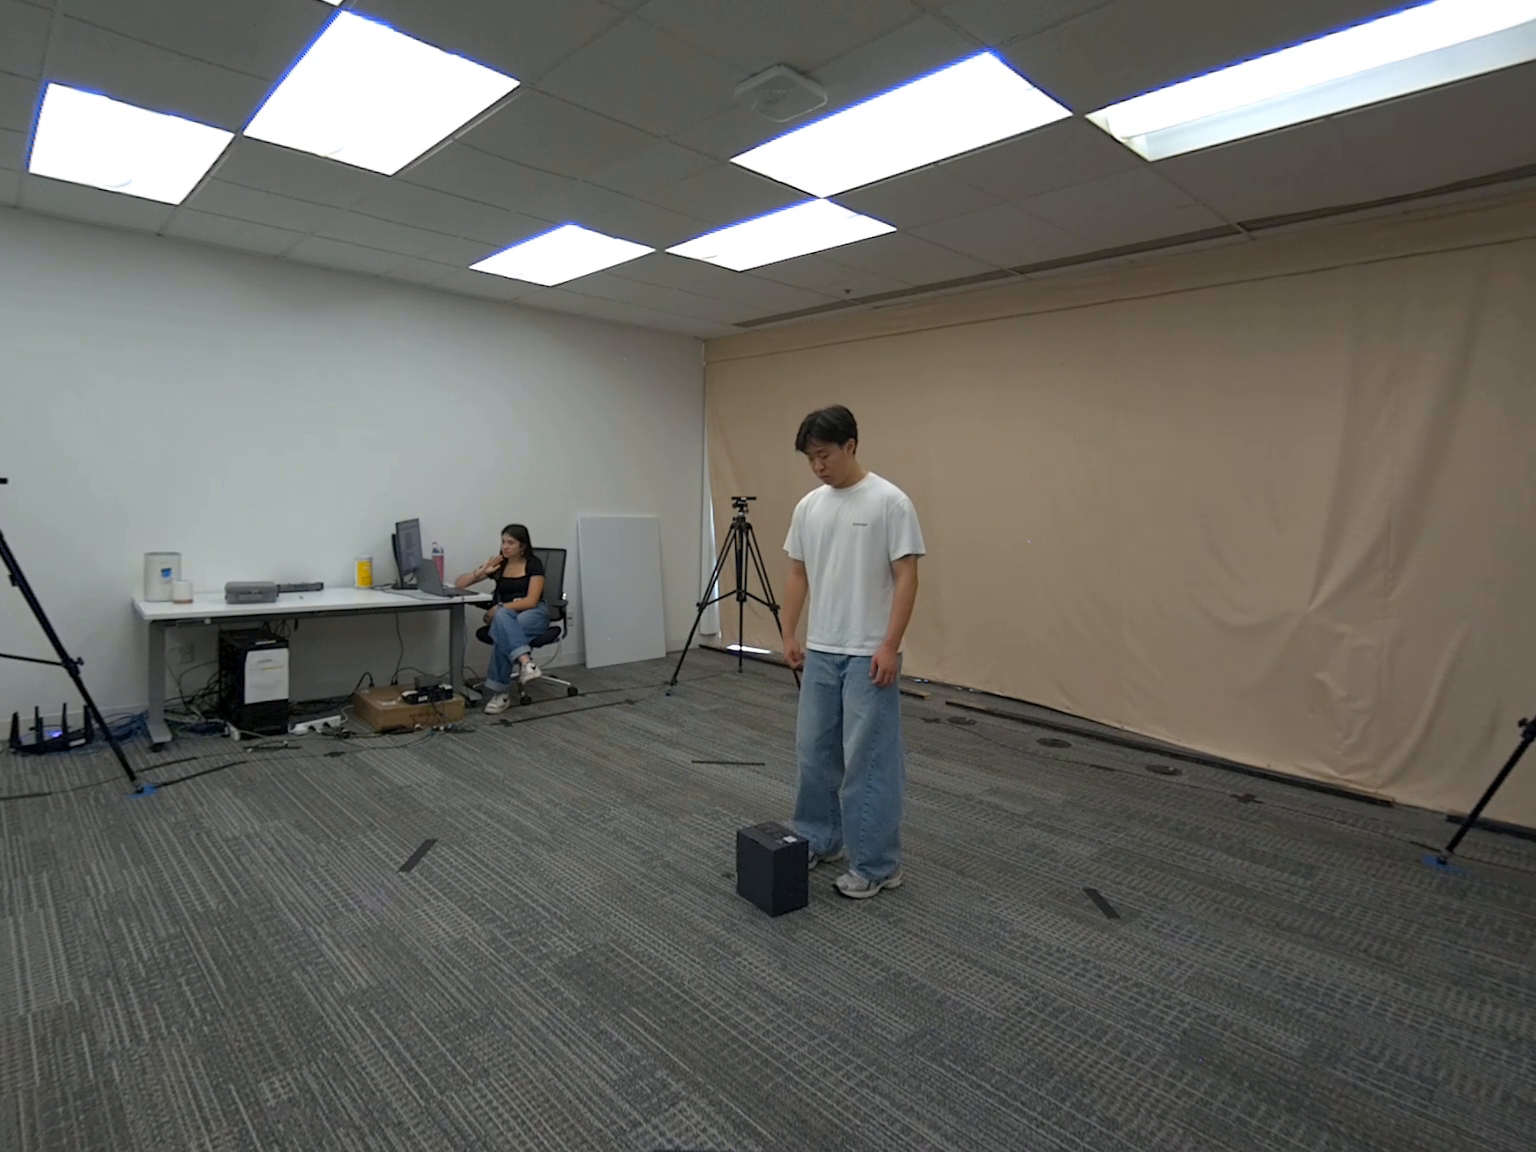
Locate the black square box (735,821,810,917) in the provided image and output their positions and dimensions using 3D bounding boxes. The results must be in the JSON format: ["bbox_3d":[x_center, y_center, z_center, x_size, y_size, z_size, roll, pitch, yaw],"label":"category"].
[{"bbox_3d":[0.006,1.008,2.914,0.152,0.227,0.222,-1,5,-36],"label":"black square box"}]
